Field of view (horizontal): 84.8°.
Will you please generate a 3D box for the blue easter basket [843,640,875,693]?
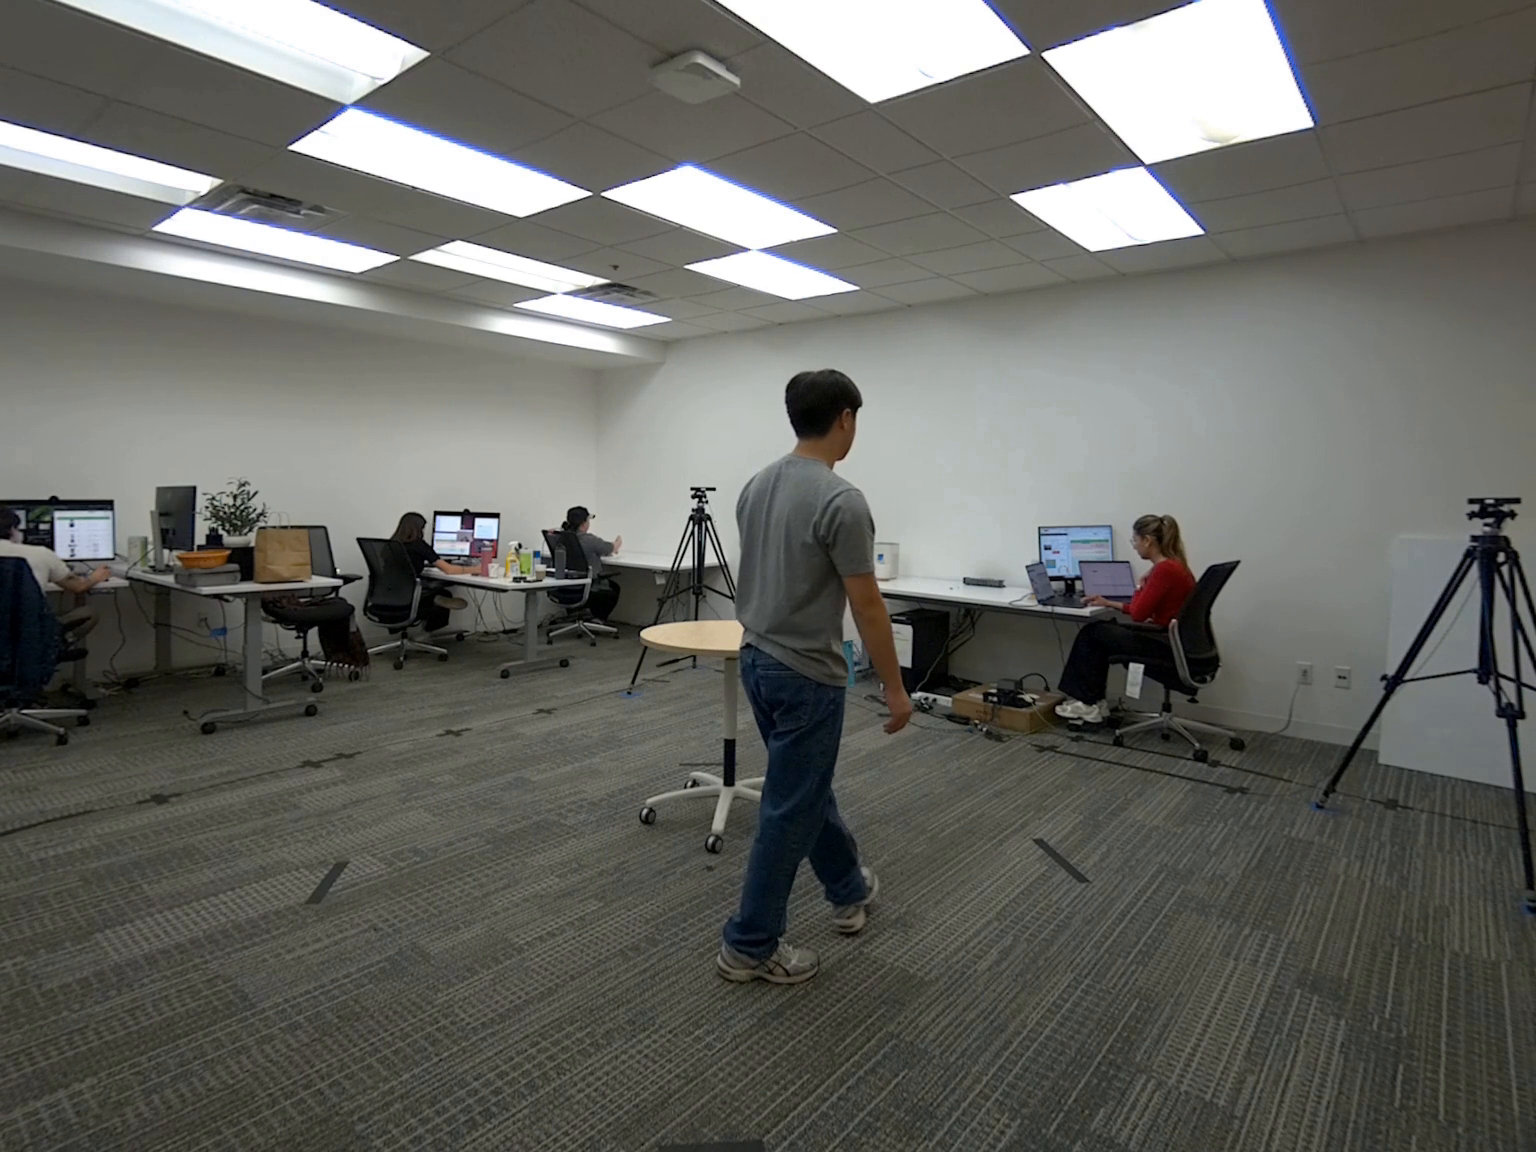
[{"bbox_3d":[0.206,0.316,2.881,0.243,0.157,0.242,-8,-4,-3],"label":"blue easter basket"}]
